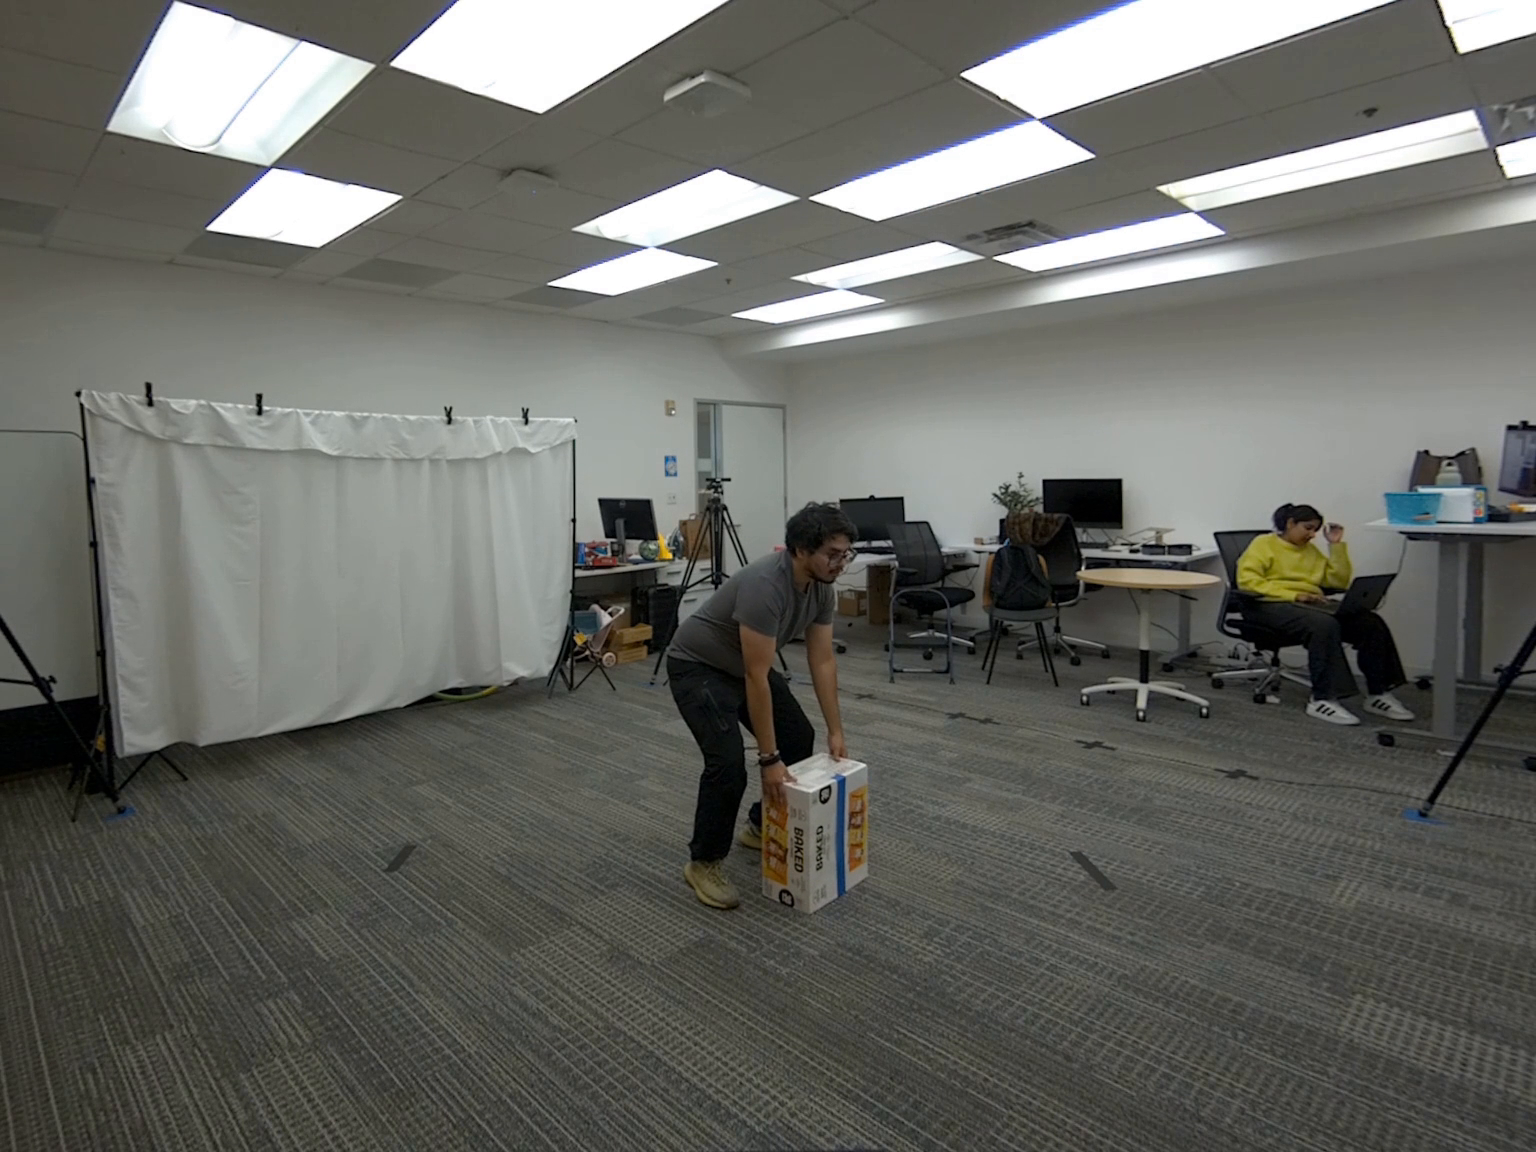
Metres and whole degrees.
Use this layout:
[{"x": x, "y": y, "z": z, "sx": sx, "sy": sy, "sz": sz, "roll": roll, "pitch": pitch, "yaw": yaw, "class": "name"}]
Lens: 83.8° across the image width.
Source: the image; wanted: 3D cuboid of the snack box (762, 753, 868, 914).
[{"x": 0.167, "y": 0.864, "z": 2.902, "sx": 0.212, "sy": 0.403, "sz": 0.331, "roll": 4, "pitch": 7, "yaw": 41, "class": "snack box"}]
